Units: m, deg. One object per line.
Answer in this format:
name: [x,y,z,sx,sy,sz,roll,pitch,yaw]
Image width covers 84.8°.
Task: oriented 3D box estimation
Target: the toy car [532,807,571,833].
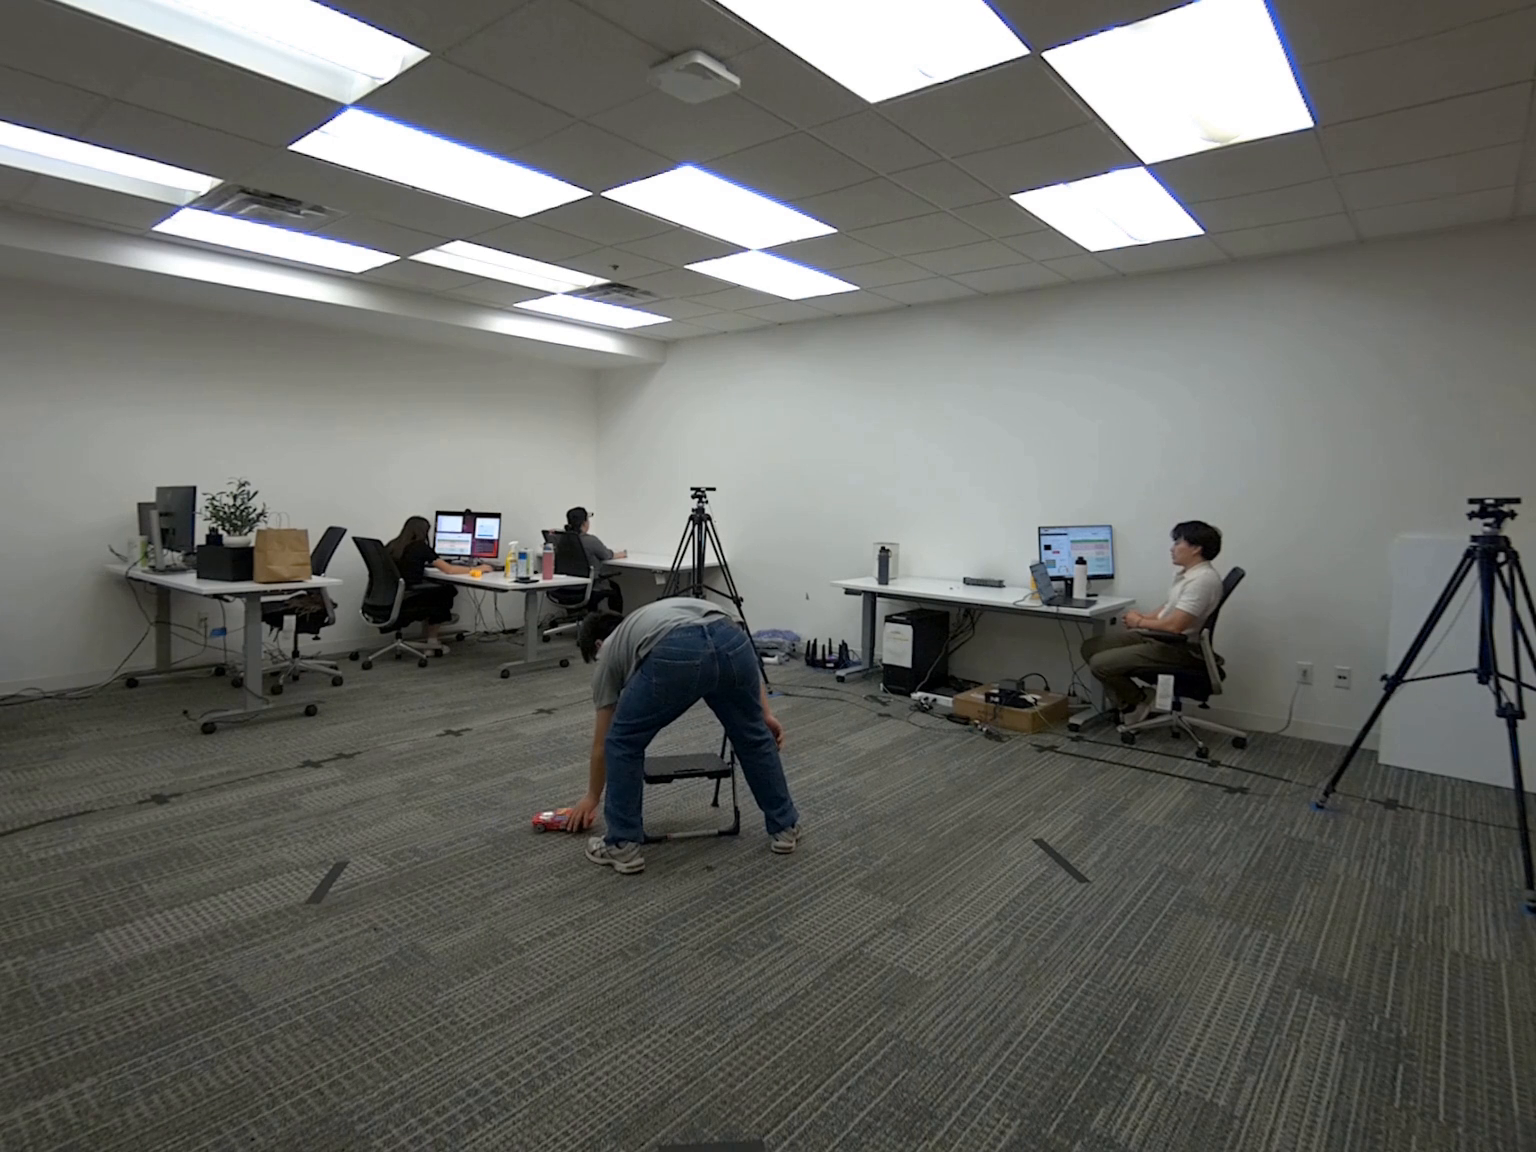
toy car: [-0.834,0.993,3.465,0.254,0.083,0.131,-10,5,0]
